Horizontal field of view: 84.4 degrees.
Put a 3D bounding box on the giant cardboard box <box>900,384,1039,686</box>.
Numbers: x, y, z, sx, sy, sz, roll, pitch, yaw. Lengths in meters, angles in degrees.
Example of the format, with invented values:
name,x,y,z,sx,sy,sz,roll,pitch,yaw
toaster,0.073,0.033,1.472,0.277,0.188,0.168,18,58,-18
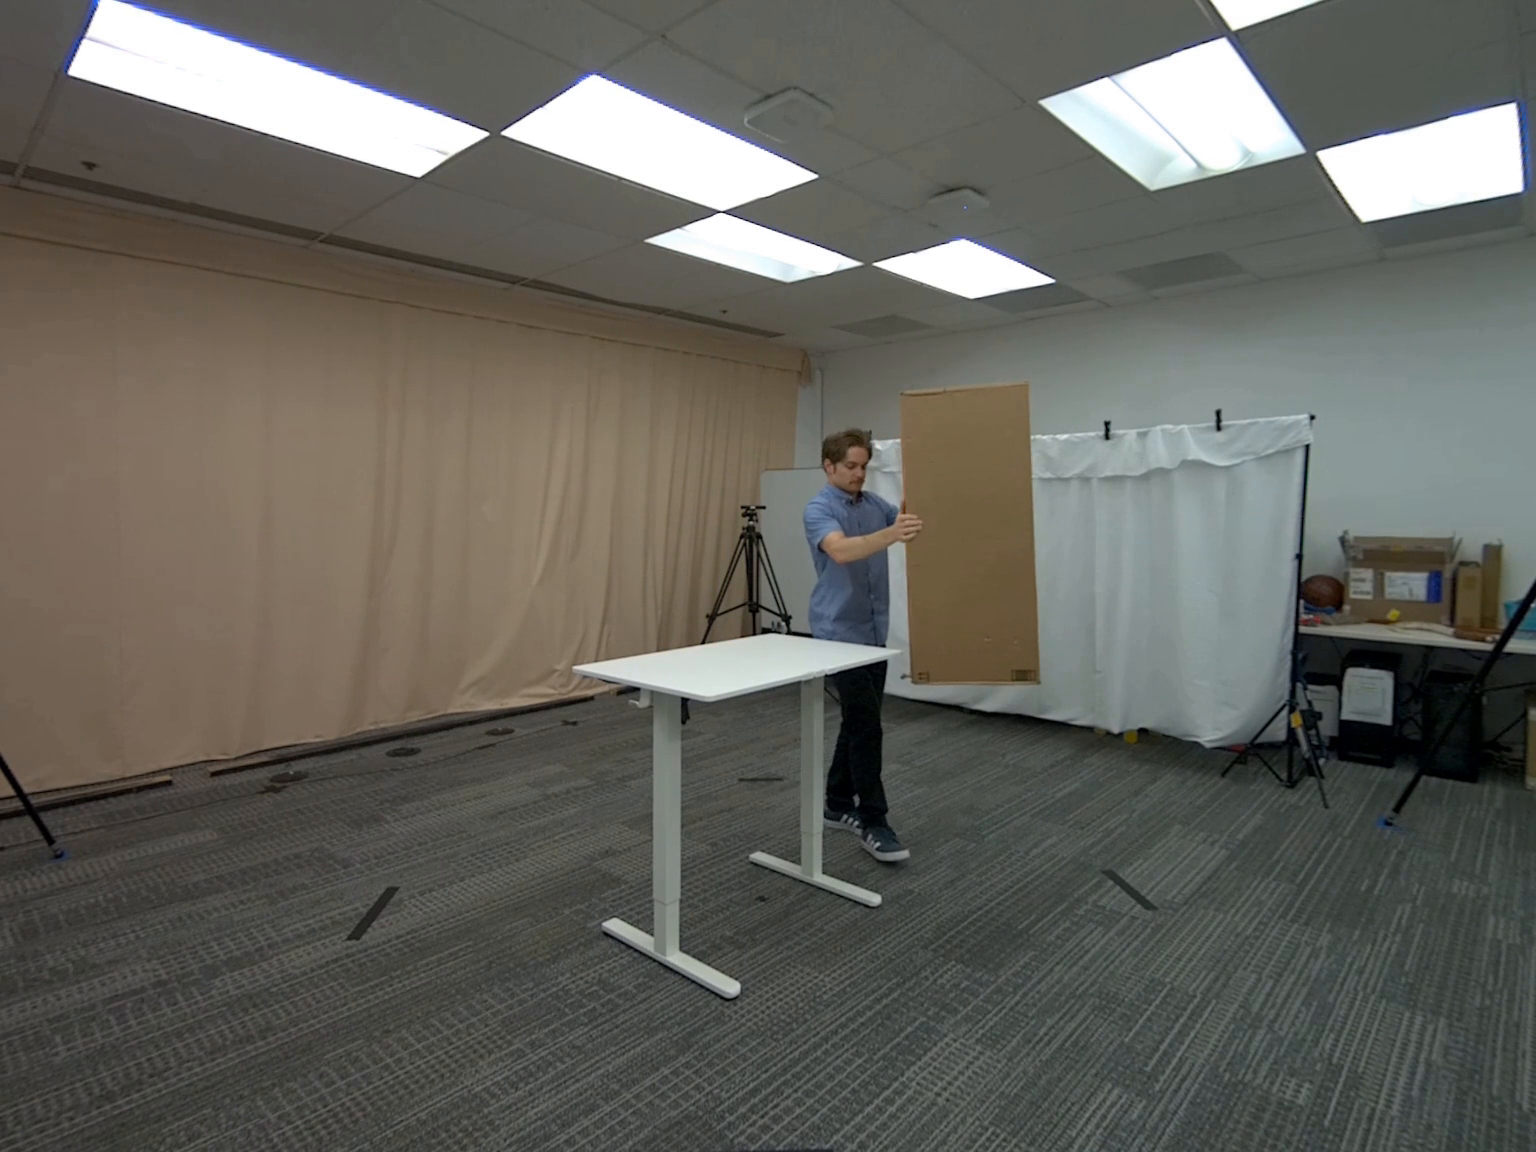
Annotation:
name,x,y,z,sx,sy,sz,roll,pitch,yaw
giant cardboard box,0.747,-0.157,3.146,0.433,1.024,0.569,-2,2,14
